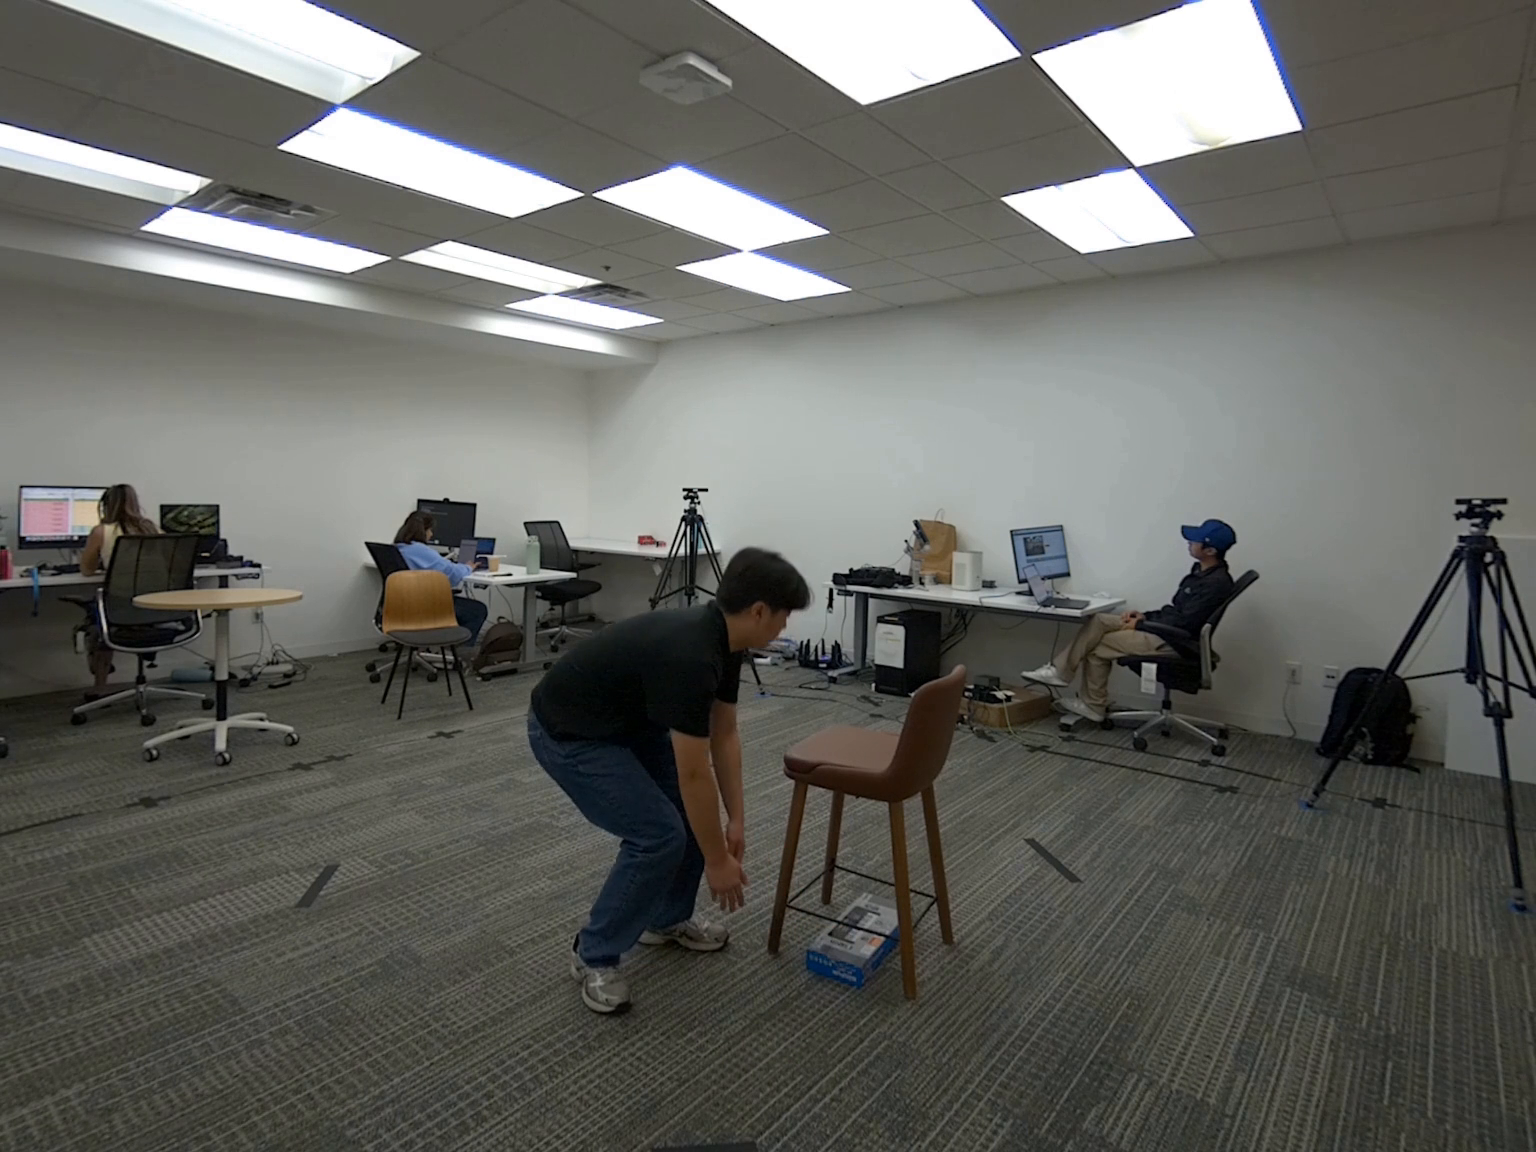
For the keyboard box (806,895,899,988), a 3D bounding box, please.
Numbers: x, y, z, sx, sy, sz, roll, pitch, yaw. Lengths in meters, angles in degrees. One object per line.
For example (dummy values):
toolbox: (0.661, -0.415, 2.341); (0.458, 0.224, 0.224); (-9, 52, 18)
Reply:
keyboard box: (0.287, 1.105, 2.603); (0.181, 0.059, 0.426); (5, 7, 30)
